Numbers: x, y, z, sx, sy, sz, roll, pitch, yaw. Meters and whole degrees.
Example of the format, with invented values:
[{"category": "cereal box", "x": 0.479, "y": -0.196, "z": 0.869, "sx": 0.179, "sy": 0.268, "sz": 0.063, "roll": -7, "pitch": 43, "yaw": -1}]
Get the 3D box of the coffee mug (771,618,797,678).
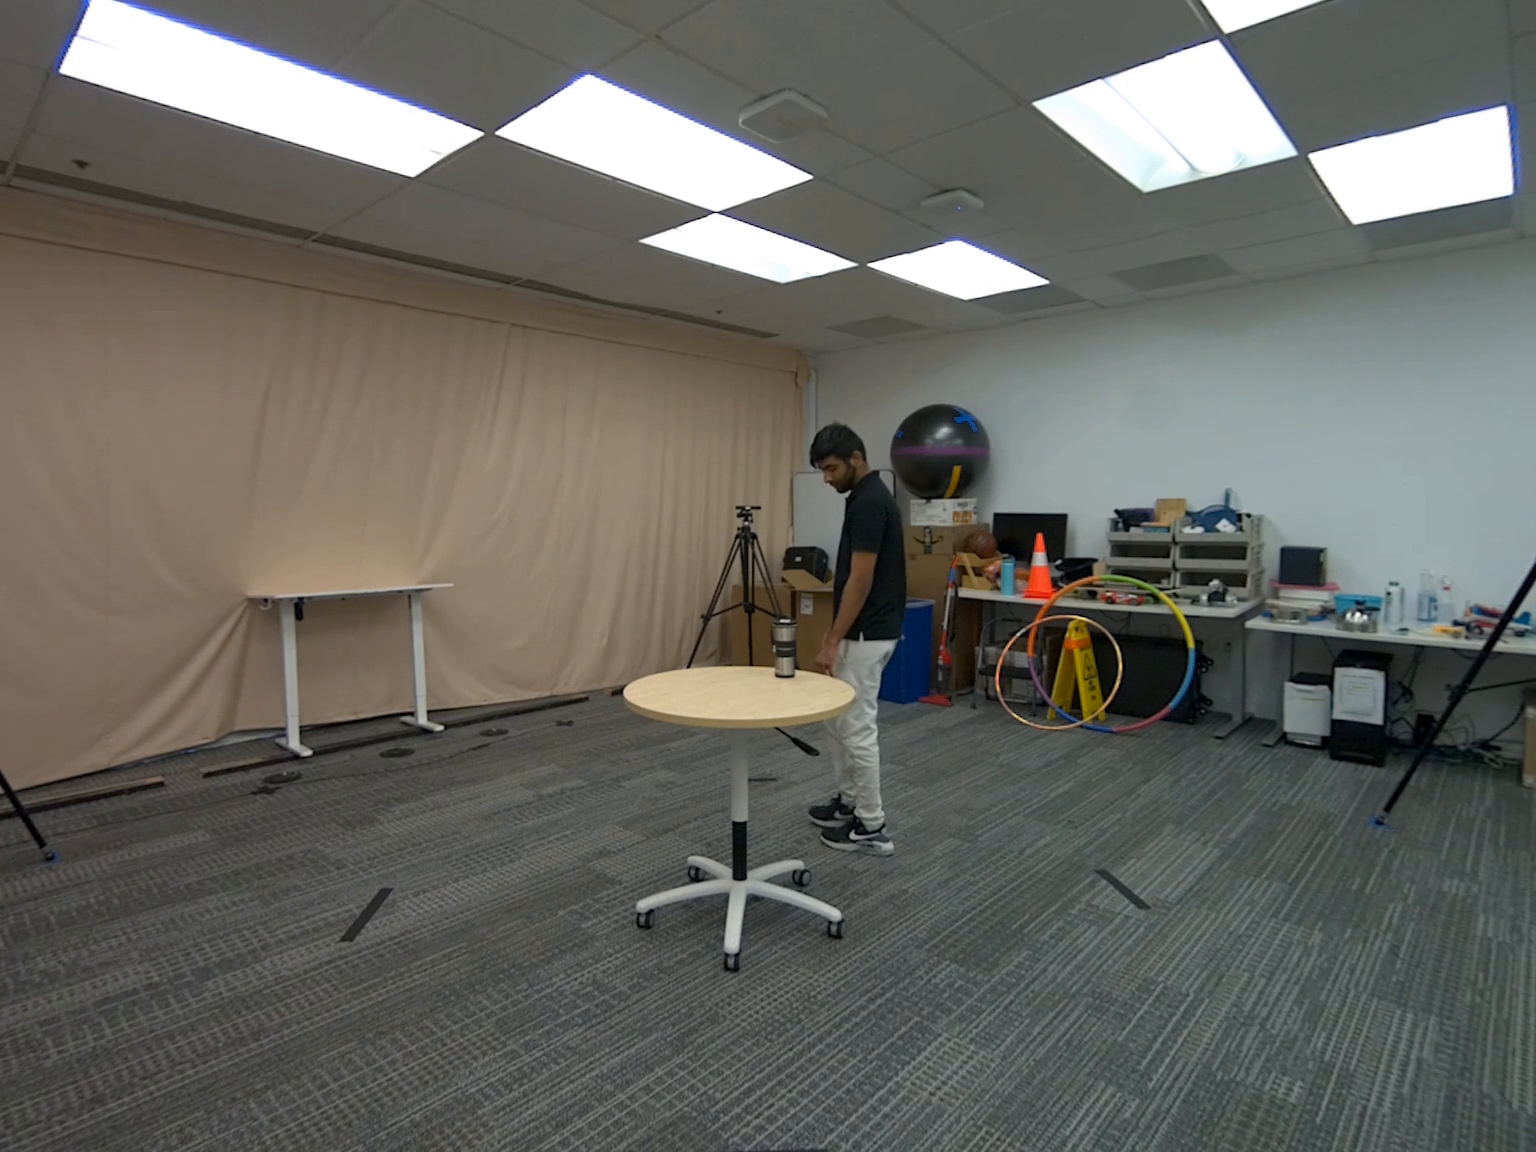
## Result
[{"category": "coffee mug", "x": 0.081, "y": 0.256, "z": 3.006, "sx": 0.090, "sy": 0.202, "sz": 0.118, "roll": -1, "pitch": 4, "yaw": 38}]
